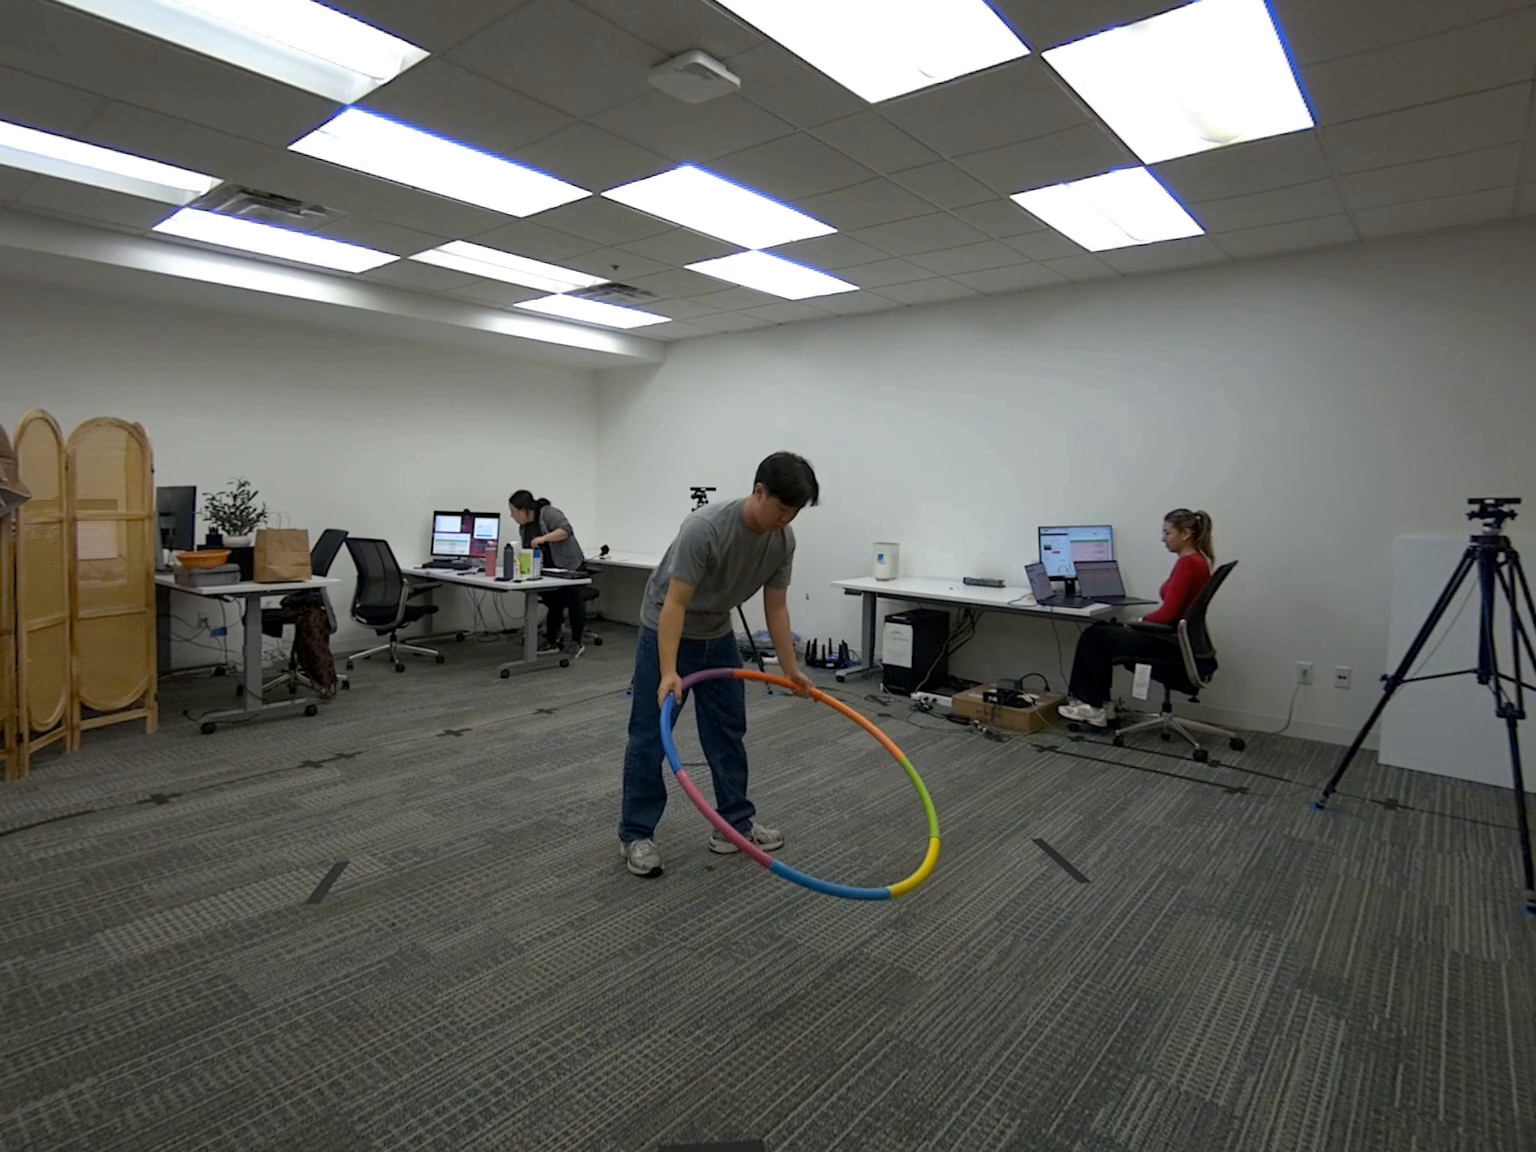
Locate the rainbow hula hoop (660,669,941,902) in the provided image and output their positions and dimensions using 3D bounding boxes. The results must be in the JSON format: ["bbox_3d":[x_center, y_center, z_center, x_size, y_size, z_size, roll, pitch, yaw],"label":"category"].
[{"bbox_3d":[0.117,0.619,2.743,0.965,0.035,1.002,20,24,-11],"label":"rainbow hula hoop"}]
